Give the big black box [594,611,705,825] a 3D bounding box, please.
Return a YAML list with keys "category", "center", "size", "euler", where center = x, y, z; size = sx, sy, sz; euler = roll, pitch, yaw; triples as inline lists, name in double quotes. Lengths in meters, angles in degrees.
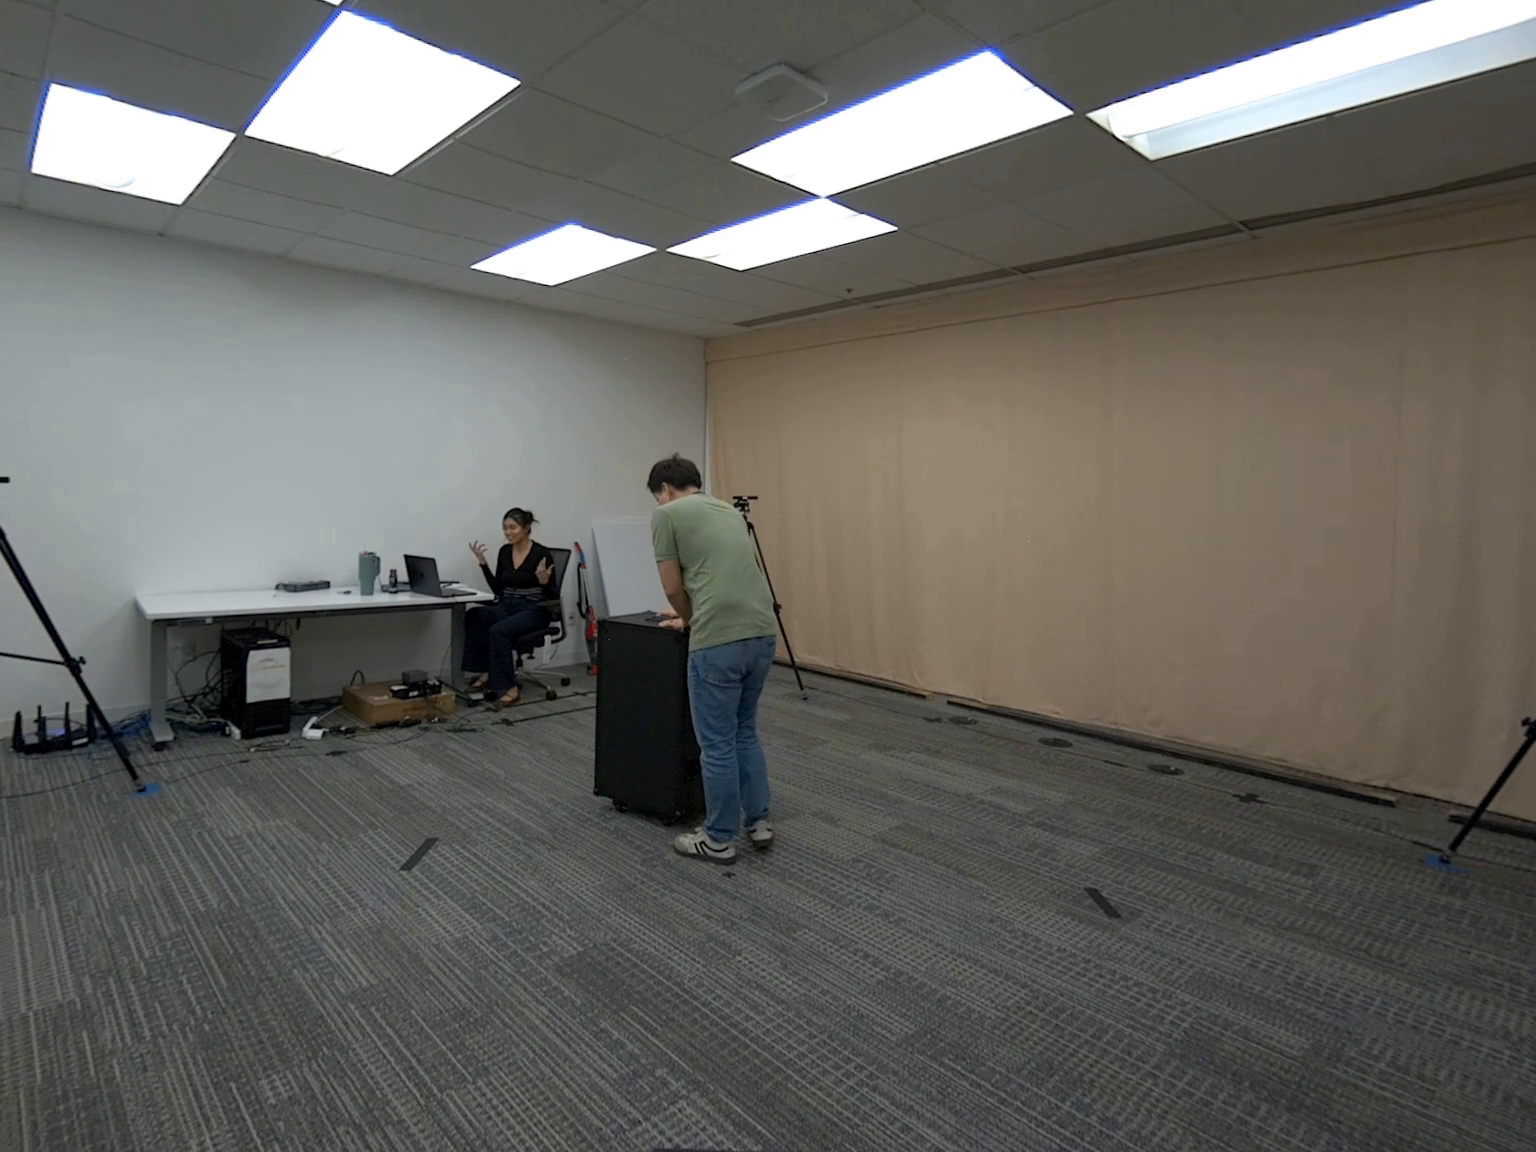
- category: "big black box"
  center: [-0.476, 0.617, 3.725]
  size: [0.533, 0.860, 0.388]
  euler: [4, 3, 33]
